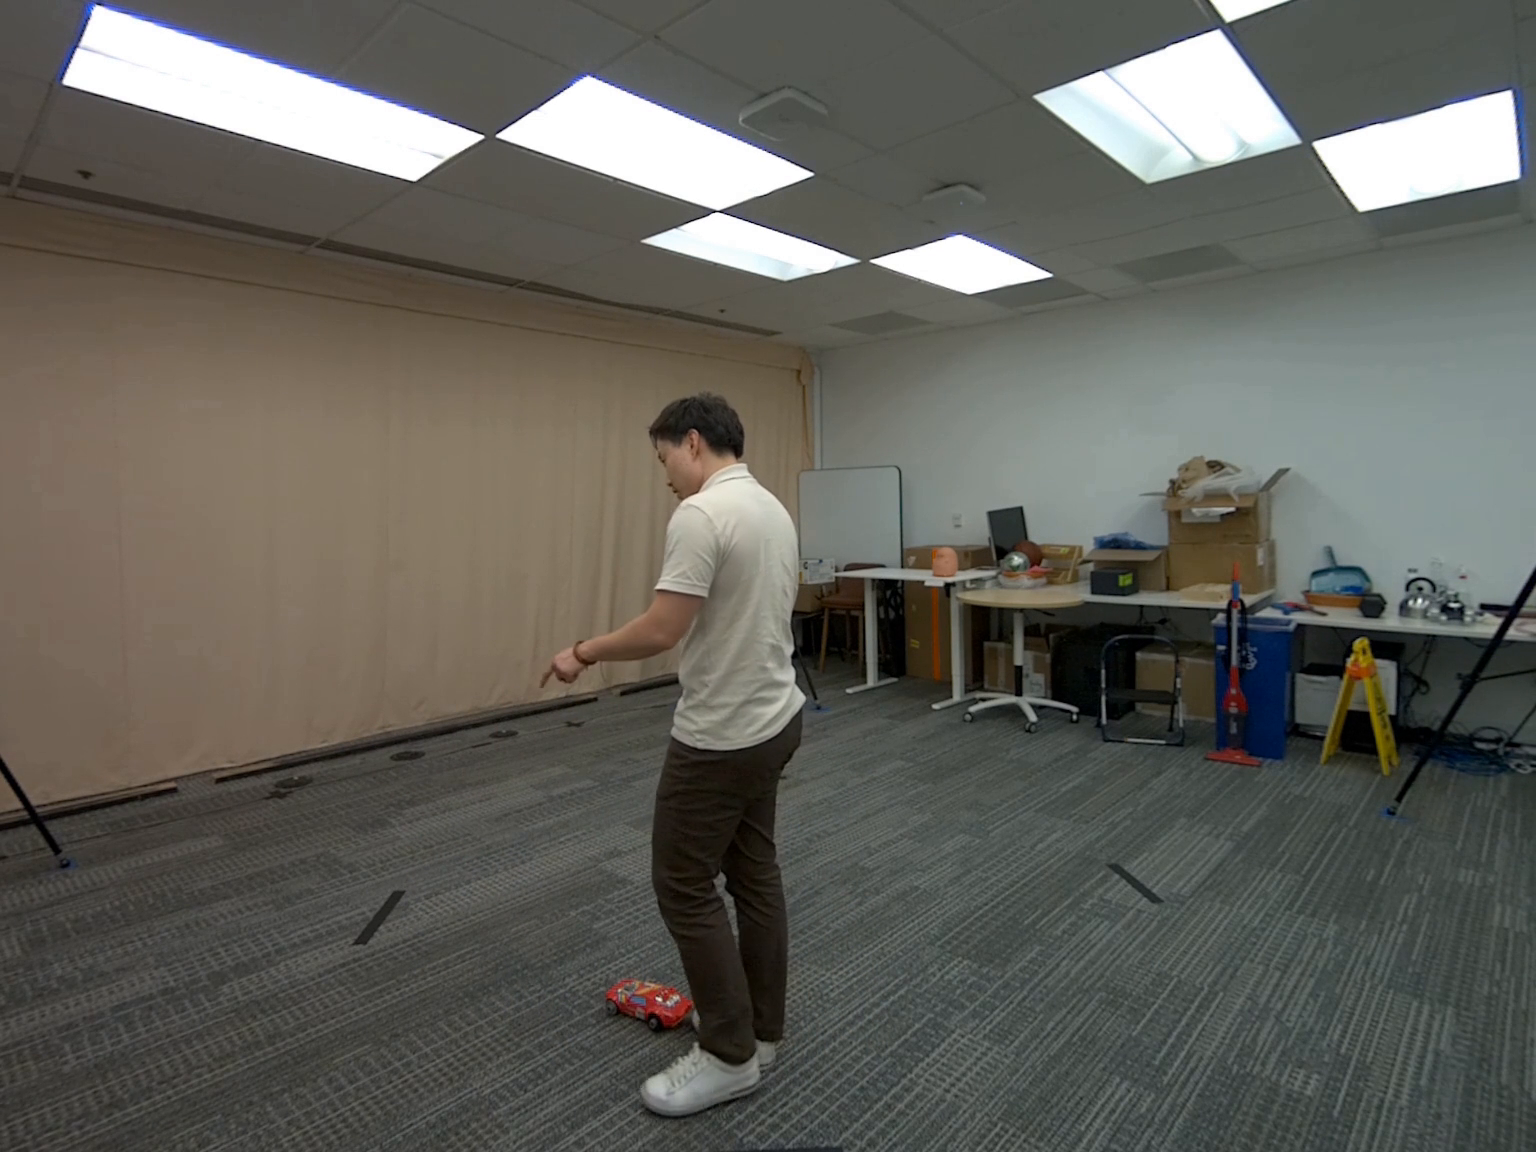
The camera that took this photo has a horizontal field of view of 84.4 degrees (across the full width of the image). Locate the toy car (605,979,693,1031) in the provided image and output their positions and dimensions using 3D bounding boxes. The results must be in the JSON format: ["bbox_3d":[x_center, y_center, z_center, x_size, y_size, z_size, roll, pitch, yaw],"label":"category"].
[{"bbox_3d":[-0.319,1.175,2.300,0.261,0.083,0.127,-10,-1,32],"label":"toy car"}]
